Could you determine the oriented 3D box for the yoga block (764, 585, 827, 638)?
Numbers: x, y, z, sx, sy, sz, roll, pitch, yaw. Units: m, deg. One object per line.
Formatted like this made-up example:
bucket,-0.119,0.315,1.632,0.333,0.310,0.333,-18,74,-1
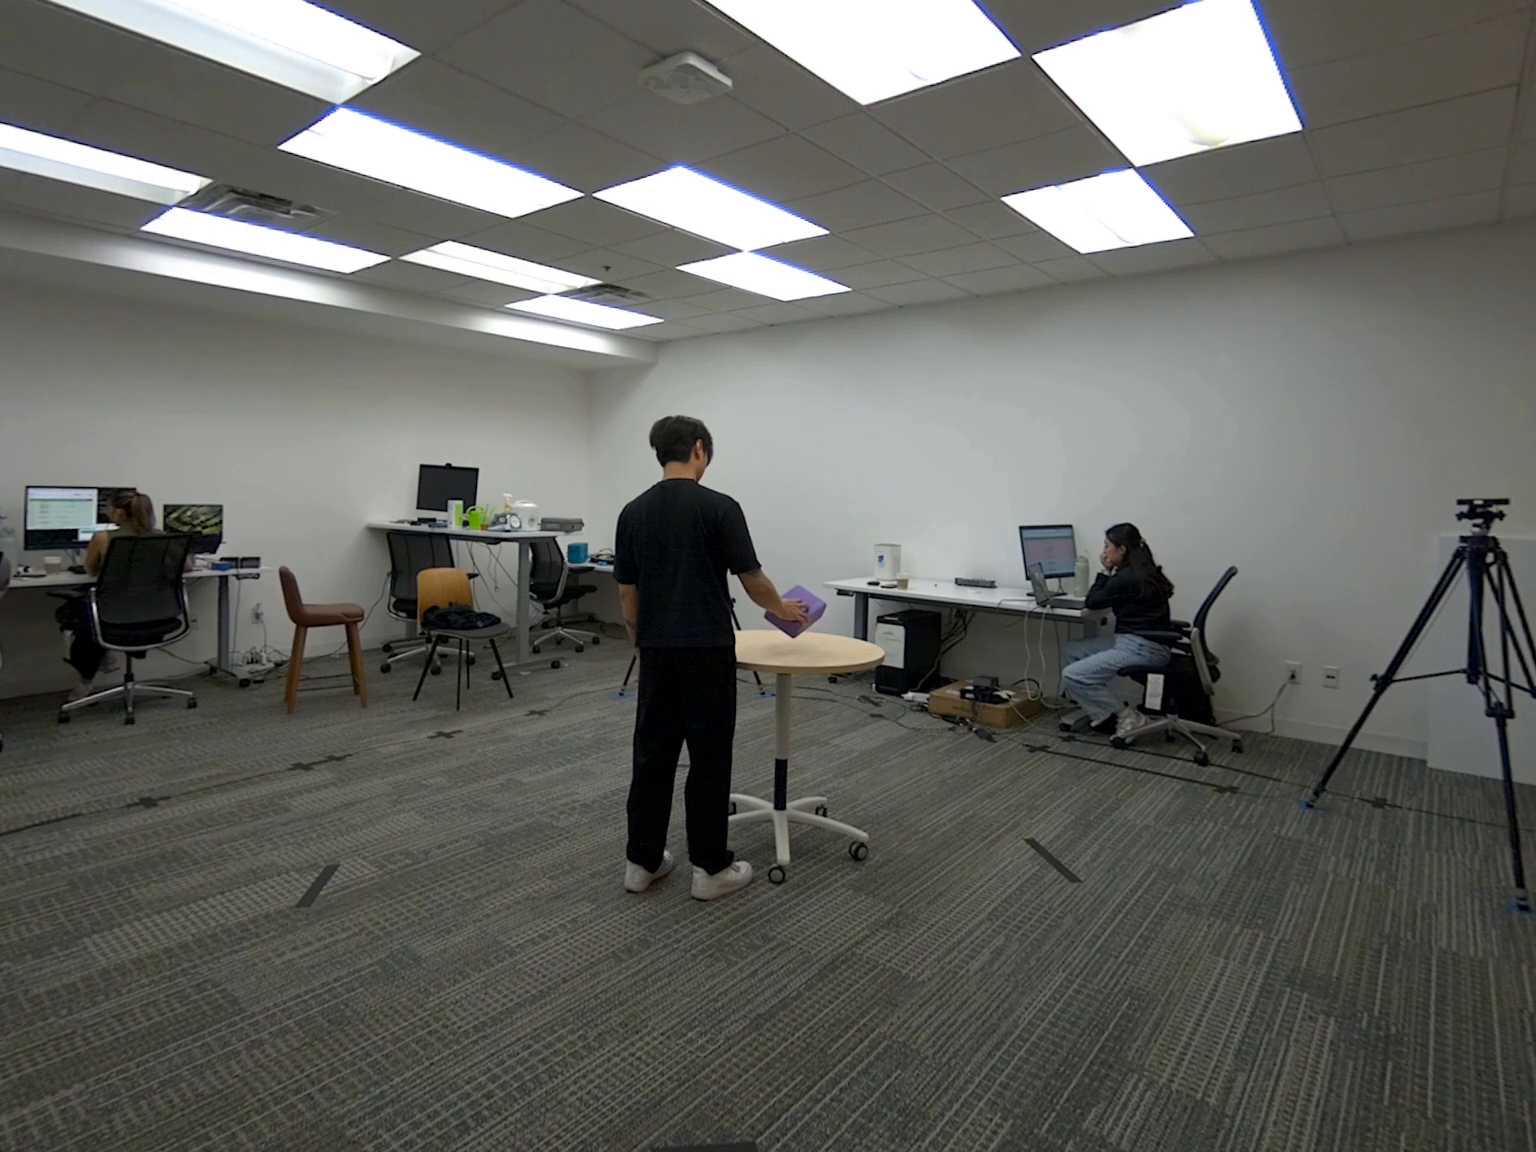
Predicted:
yoga block,0.108,0.129,3.234,0.153,0.075,0.227,30,33,16
